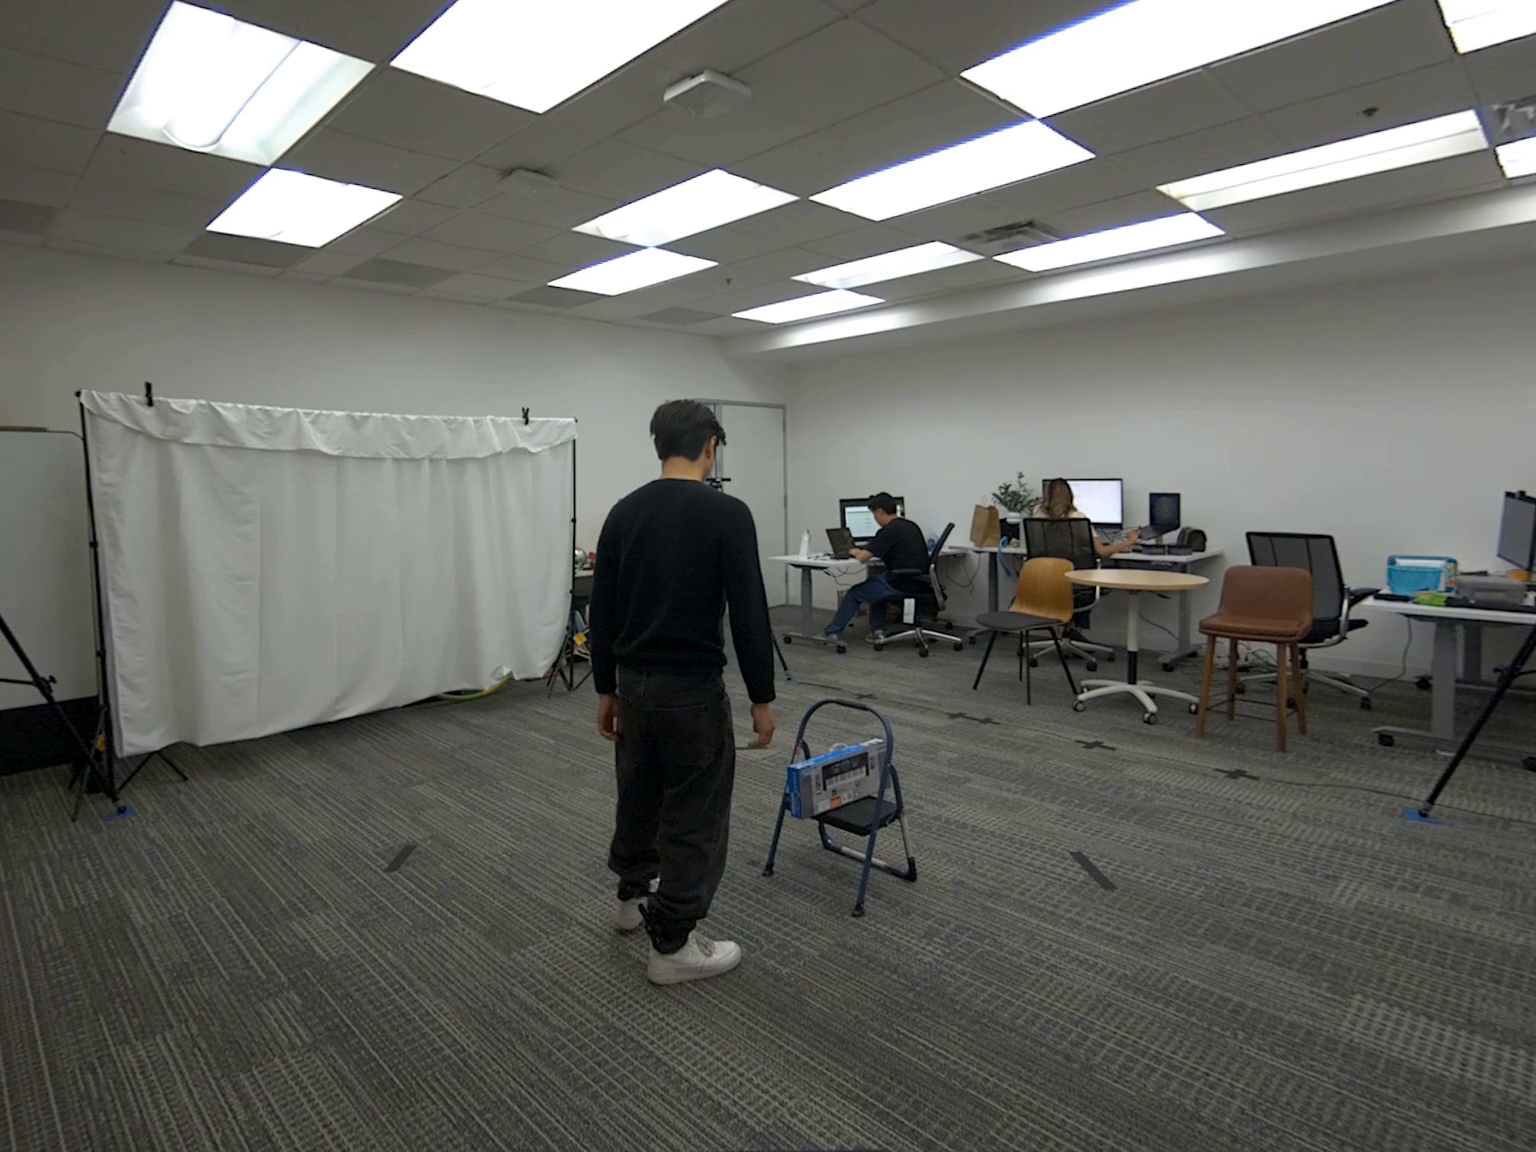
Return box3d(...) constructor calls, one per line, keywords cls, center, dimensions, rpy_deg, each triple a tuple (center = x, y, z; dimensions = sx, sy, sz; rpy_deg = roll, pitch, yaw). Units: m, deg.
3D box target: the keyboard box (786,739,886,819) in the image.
box3d(cls="keyboard box", center=(0.254, 0.701, 2.981), dimensions=(0.426, 0.176, 0.061), rpy_deg=(-7, 3, -38))
